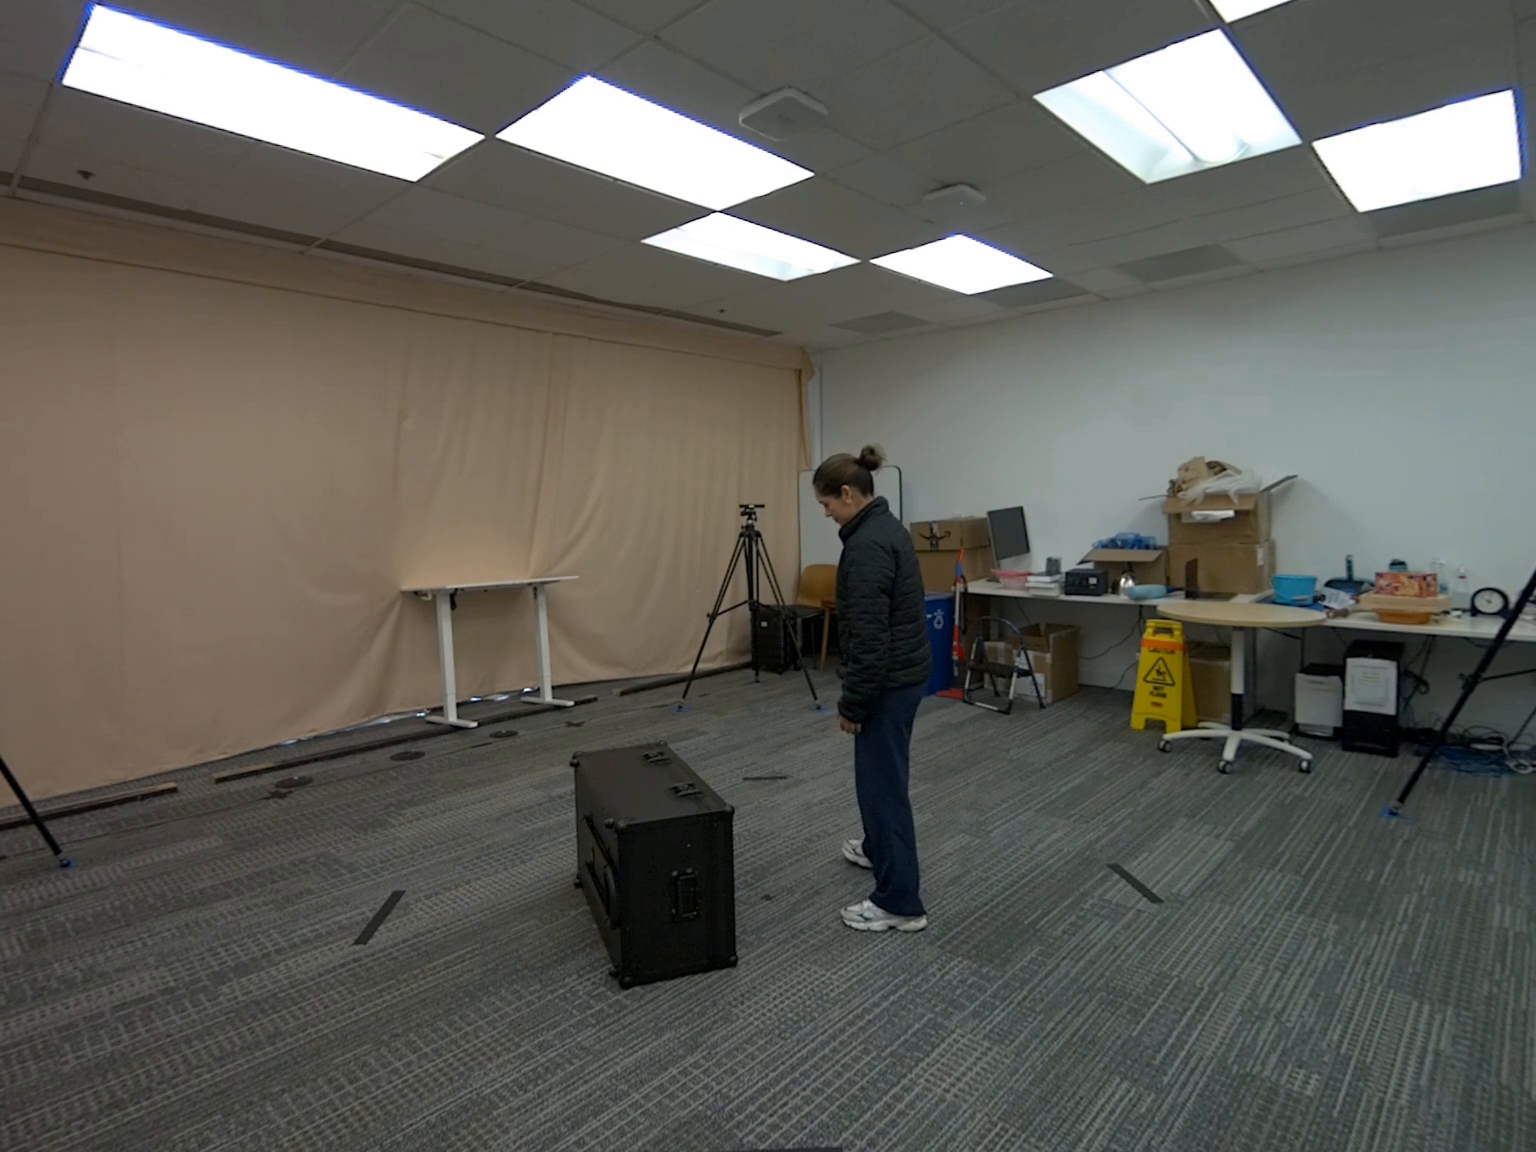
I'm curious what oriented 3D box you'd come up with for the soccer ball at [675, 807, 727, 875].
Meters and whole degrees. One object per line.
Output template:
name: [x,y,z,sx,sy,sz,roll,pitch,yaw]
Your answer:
soccer ball: [-0.260,1.024,3.288,0.187,0.187,0.188,-1,4,-2]
